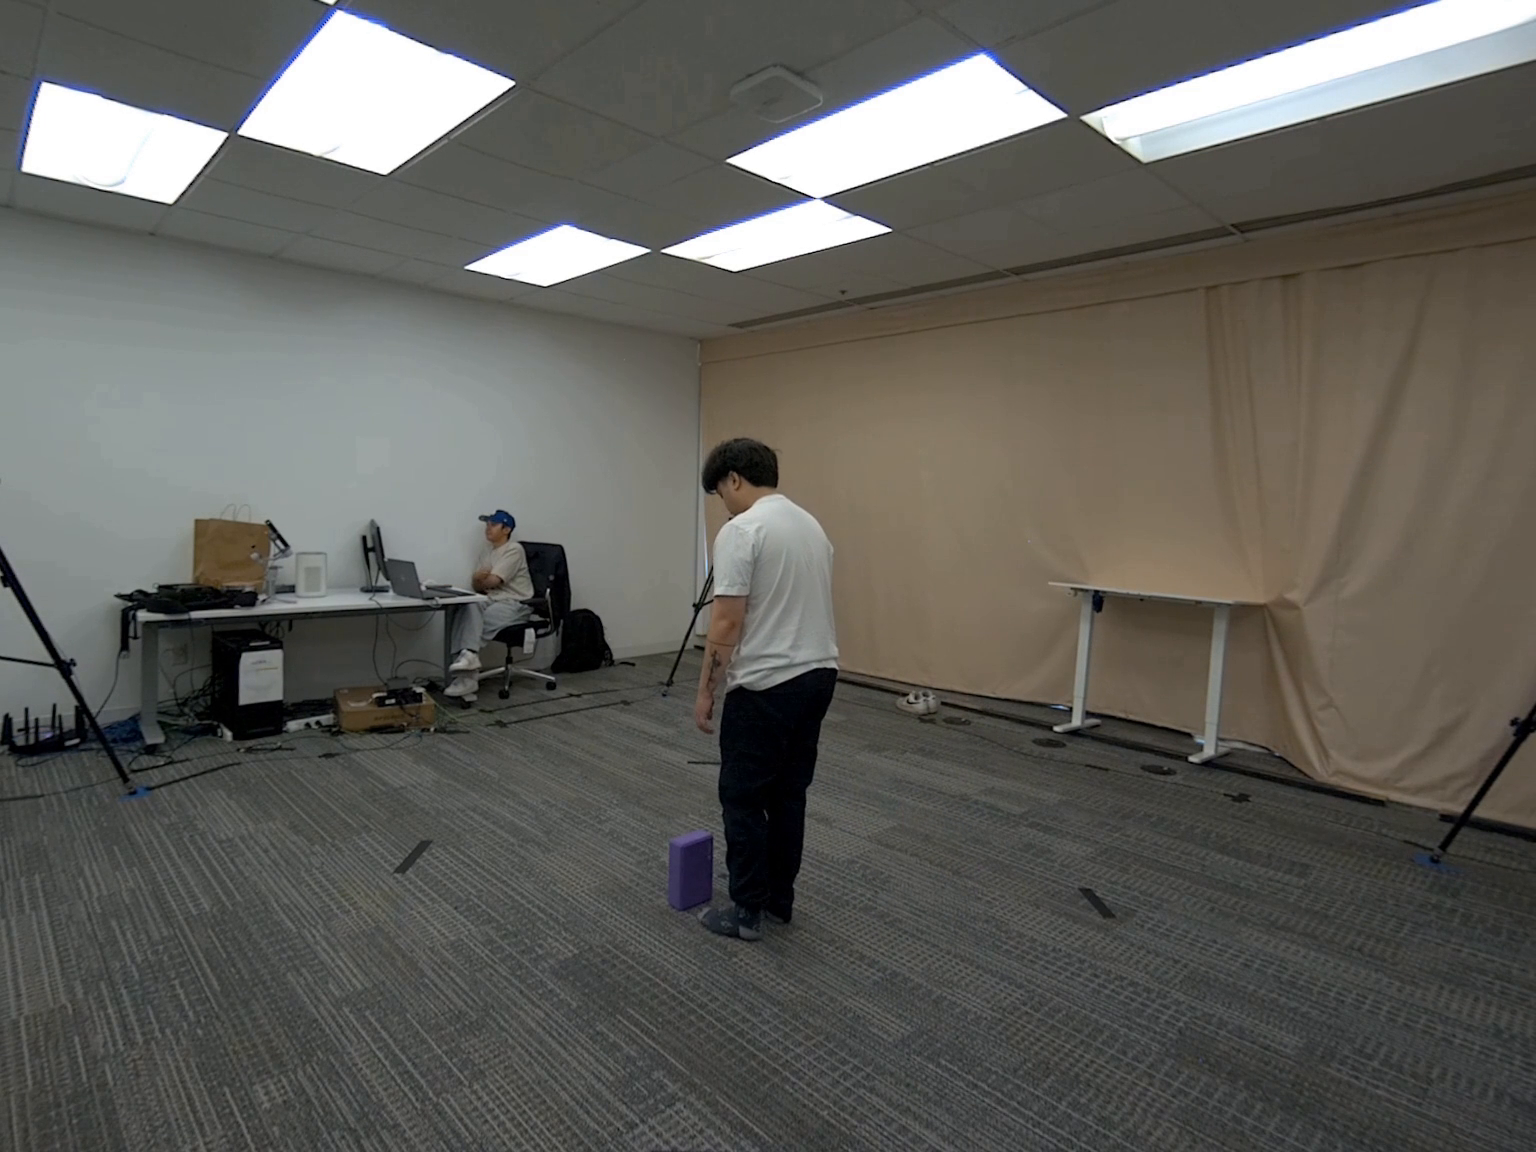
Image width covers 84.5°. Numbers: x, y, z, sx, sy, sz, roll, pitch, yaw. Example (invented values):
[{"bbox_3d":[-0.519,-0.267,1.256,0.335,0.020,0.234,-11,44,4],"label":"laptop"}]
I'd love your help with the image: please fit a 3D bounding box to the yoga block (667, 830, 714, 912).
[{"bbox_3d":[-0.272,1.008,2.891,0.146,0.229,0.078,-5,5,-44],"label":"yoga block"}]
